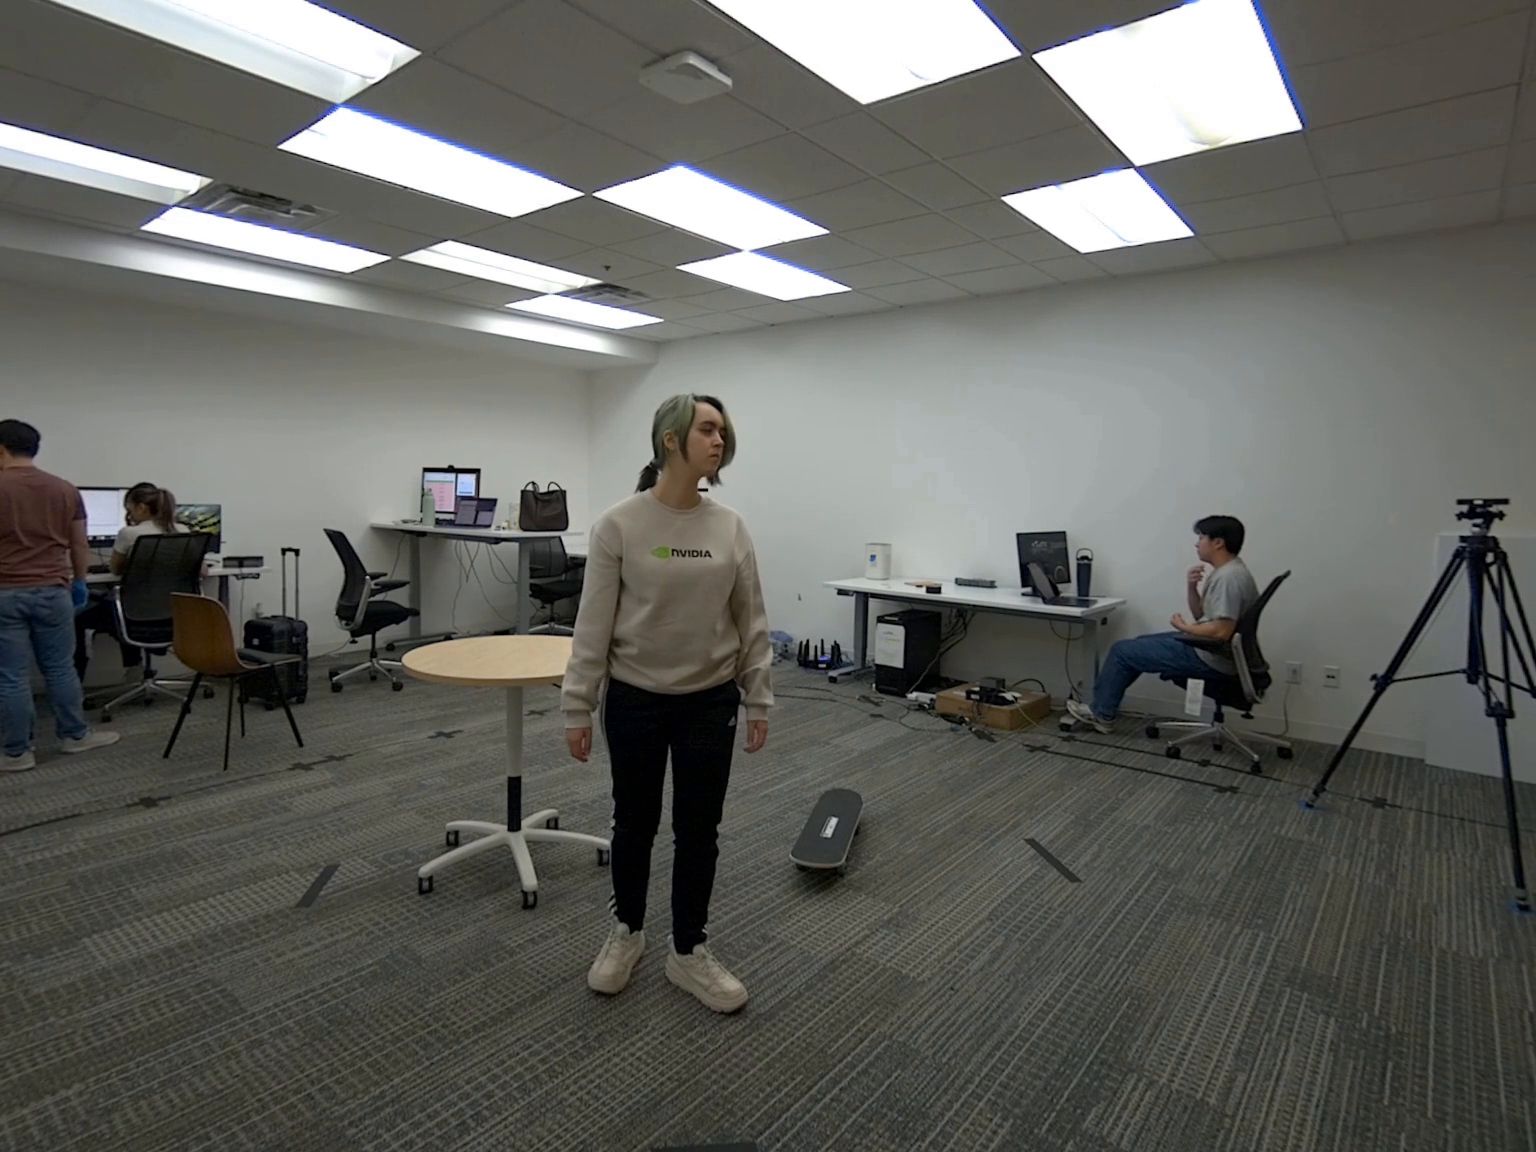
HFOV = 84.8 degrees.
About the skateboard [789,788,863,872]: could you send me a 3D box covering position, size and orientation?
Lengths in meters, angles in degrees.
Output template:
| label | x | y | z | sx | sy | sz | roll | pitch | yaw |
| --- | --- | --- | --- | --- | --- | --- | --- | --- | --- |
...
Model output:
| label | x | y | z | sx | sy | sz | roll | pitch | yaw |
| --- | --- | --- | --- | --- | --- | --- | --- | --- | --- |
| skateboard | 0.236 | 1.001 | 3.310 | 0.197 | 0.110 | 0.775 | 2 | 6 | 14 |
